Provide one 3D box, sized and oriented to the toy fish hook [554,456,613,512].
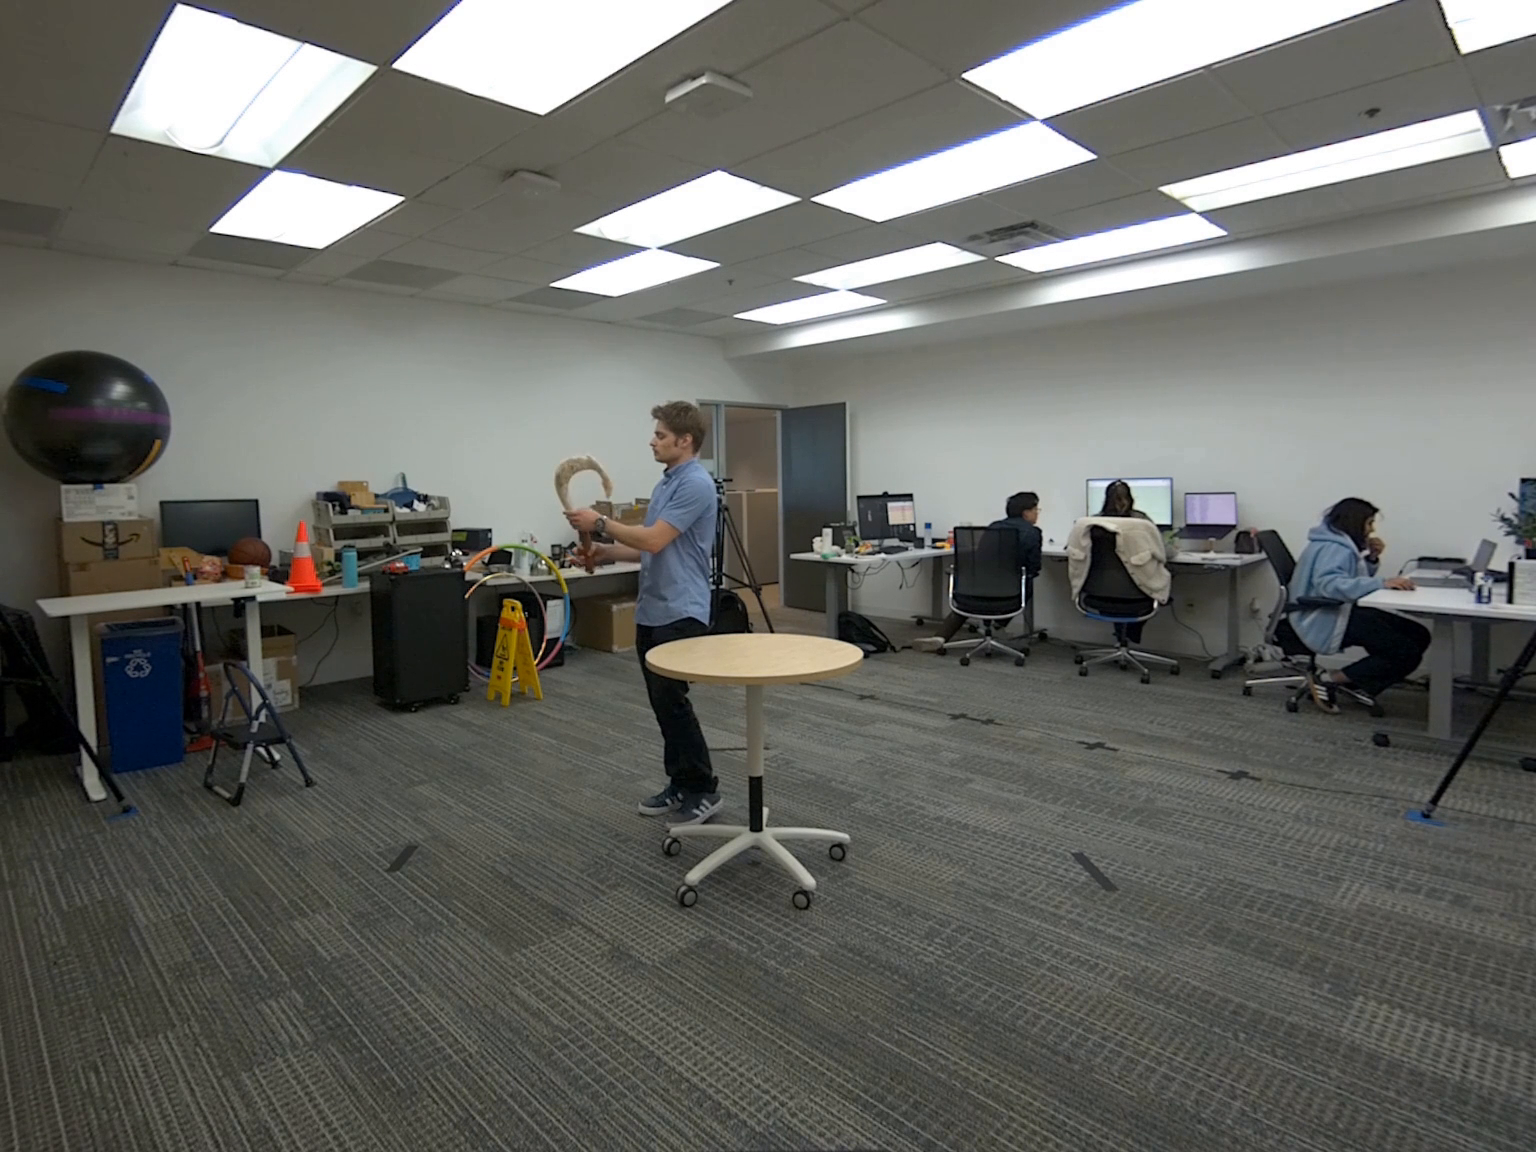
[{"bbox_3d":[-0.724,-0.245,3.492,0.225,0.496,0.049,-9,19,2],"label":"toy fish hook"}]
